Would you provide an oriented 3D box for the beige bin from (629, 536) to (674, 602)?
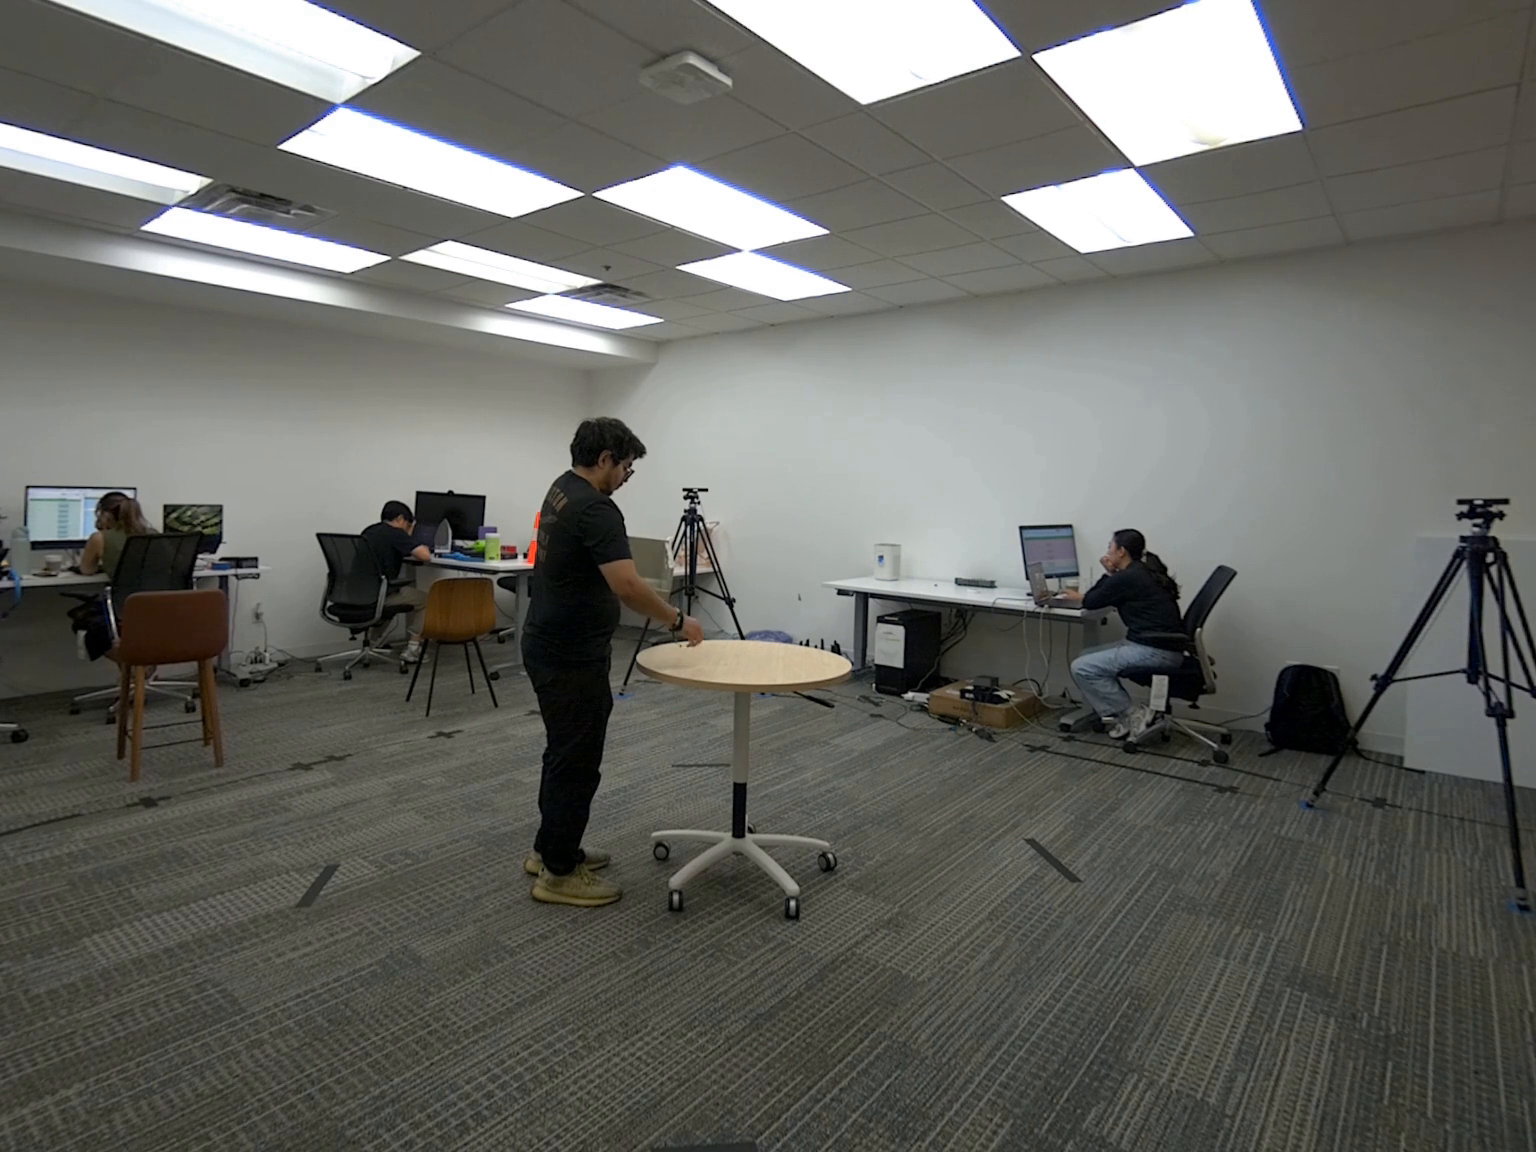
[{"bbox_3d":[-0.596,-0.025,3.214,0.419,0.187,0.385,7,14,-8],"label":"beige bin"}]
